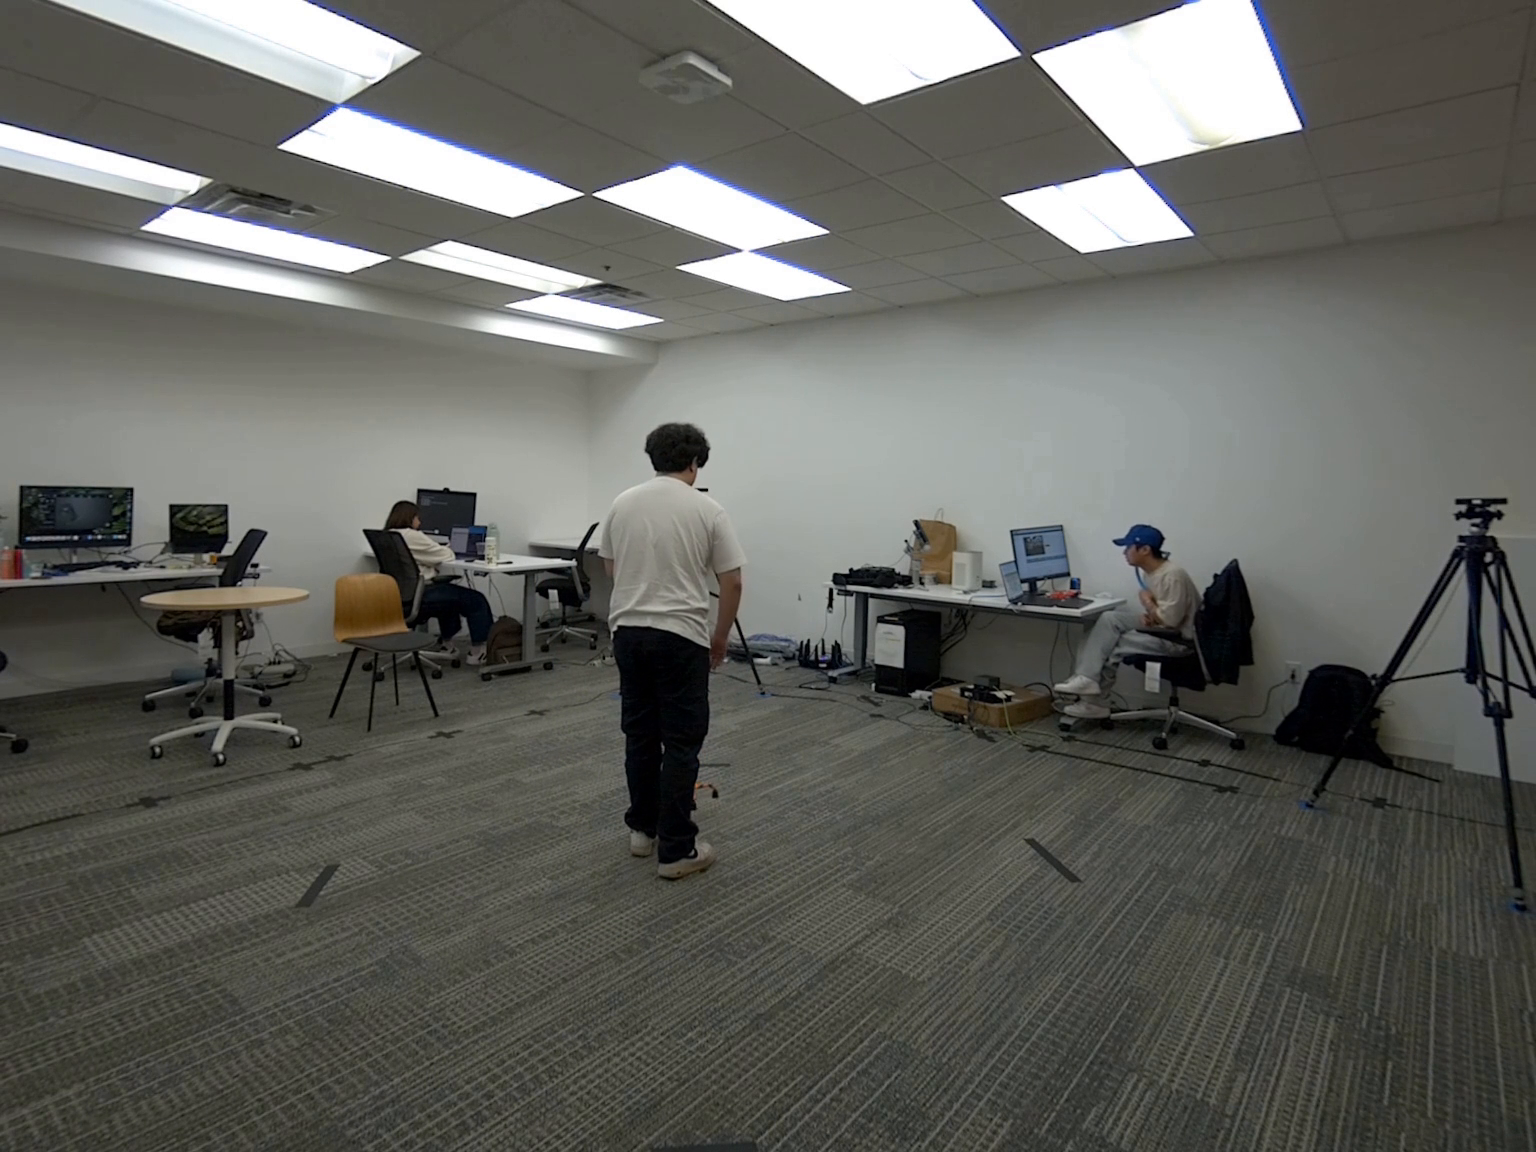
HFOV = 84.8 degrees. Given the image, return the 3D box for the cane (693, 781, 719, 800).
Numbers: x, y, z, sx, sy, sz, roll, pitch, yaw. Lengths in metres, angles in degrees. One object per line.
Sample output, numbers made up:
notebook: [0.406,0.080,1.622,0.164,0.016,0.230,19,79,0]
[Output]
cane: [-0.324,0.501,3.593,0.156,0.907,0.201,1,2,30]
